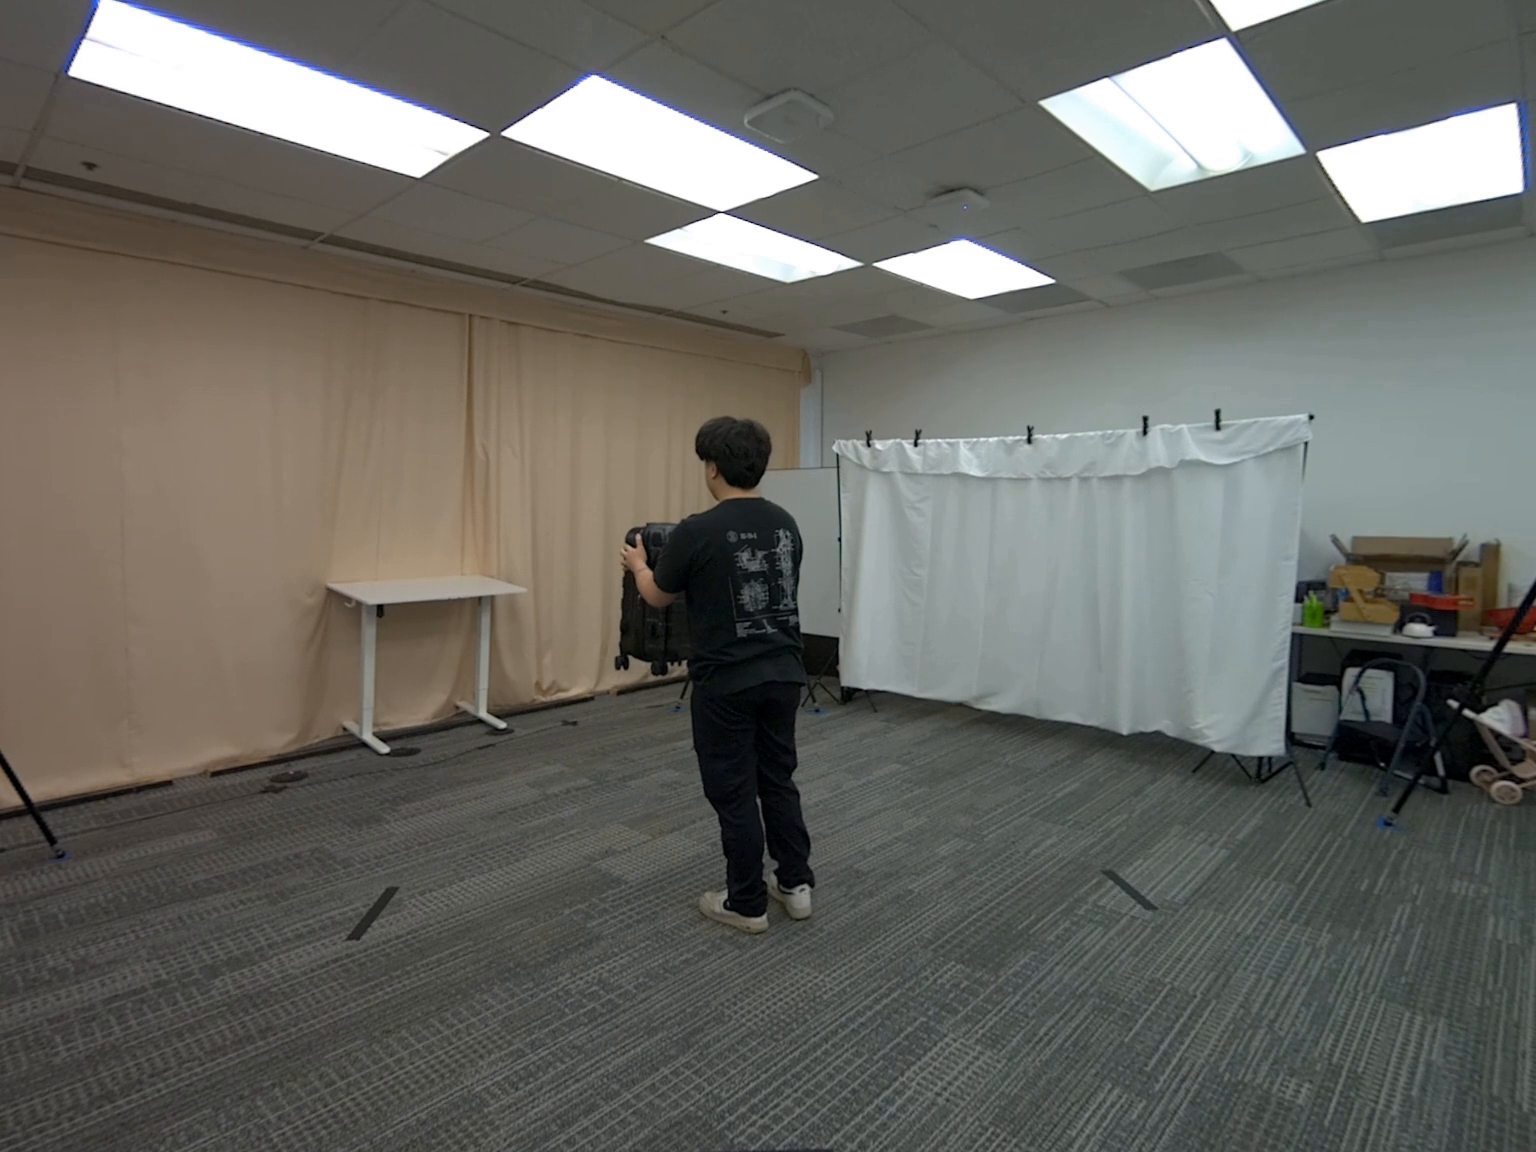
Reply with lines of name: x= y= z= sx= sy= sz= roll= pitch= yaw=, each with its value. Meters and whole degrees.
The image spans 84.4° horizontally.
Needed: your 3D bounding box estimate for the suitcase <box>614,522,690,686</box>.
suitcase: x=-0.355 y=0.075 z=3.155 sx=0.256 sy=0.550 sz=0.363 roll=2 pitch=-1 yaw=38
